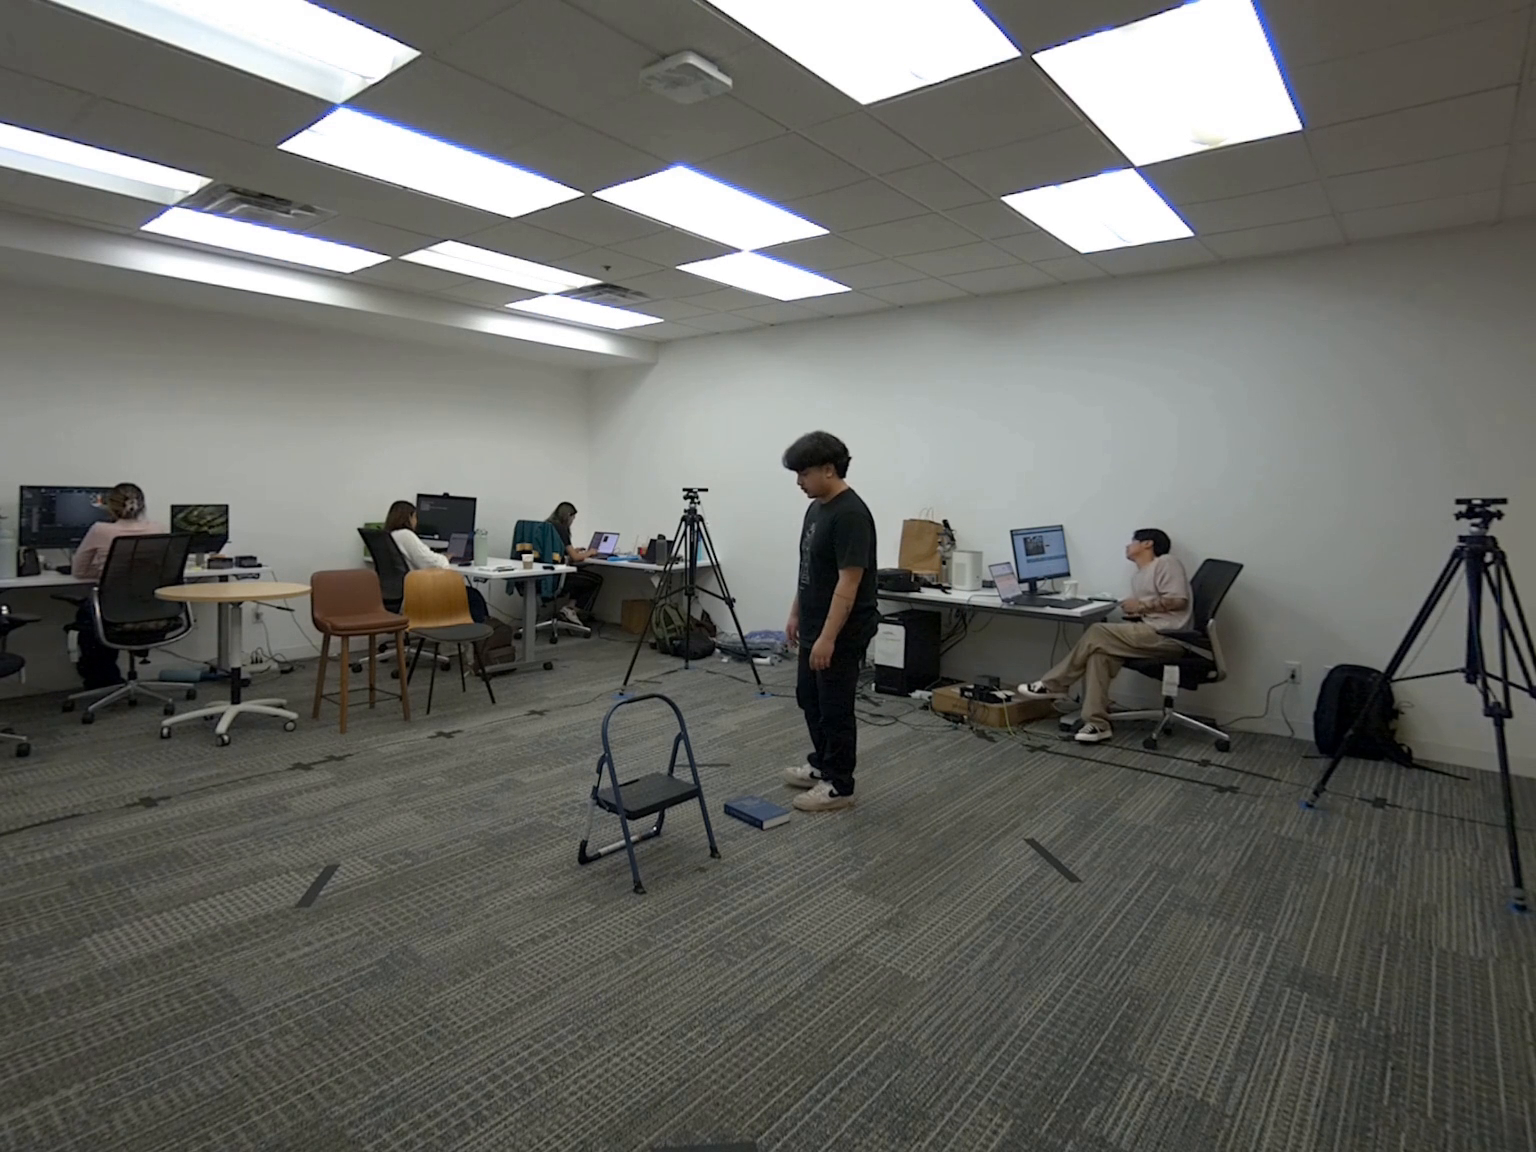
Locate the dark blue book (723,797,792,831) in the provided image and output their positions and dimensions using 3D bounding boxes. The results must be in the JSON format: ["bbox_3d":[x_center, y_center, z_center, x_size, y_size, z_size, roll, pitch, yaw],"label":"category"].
[{"bbox_3d":[-0.054,1.003,3.621,0.158,0.045,0.253,-3,7,-43],"label":"dark blue book"}]
